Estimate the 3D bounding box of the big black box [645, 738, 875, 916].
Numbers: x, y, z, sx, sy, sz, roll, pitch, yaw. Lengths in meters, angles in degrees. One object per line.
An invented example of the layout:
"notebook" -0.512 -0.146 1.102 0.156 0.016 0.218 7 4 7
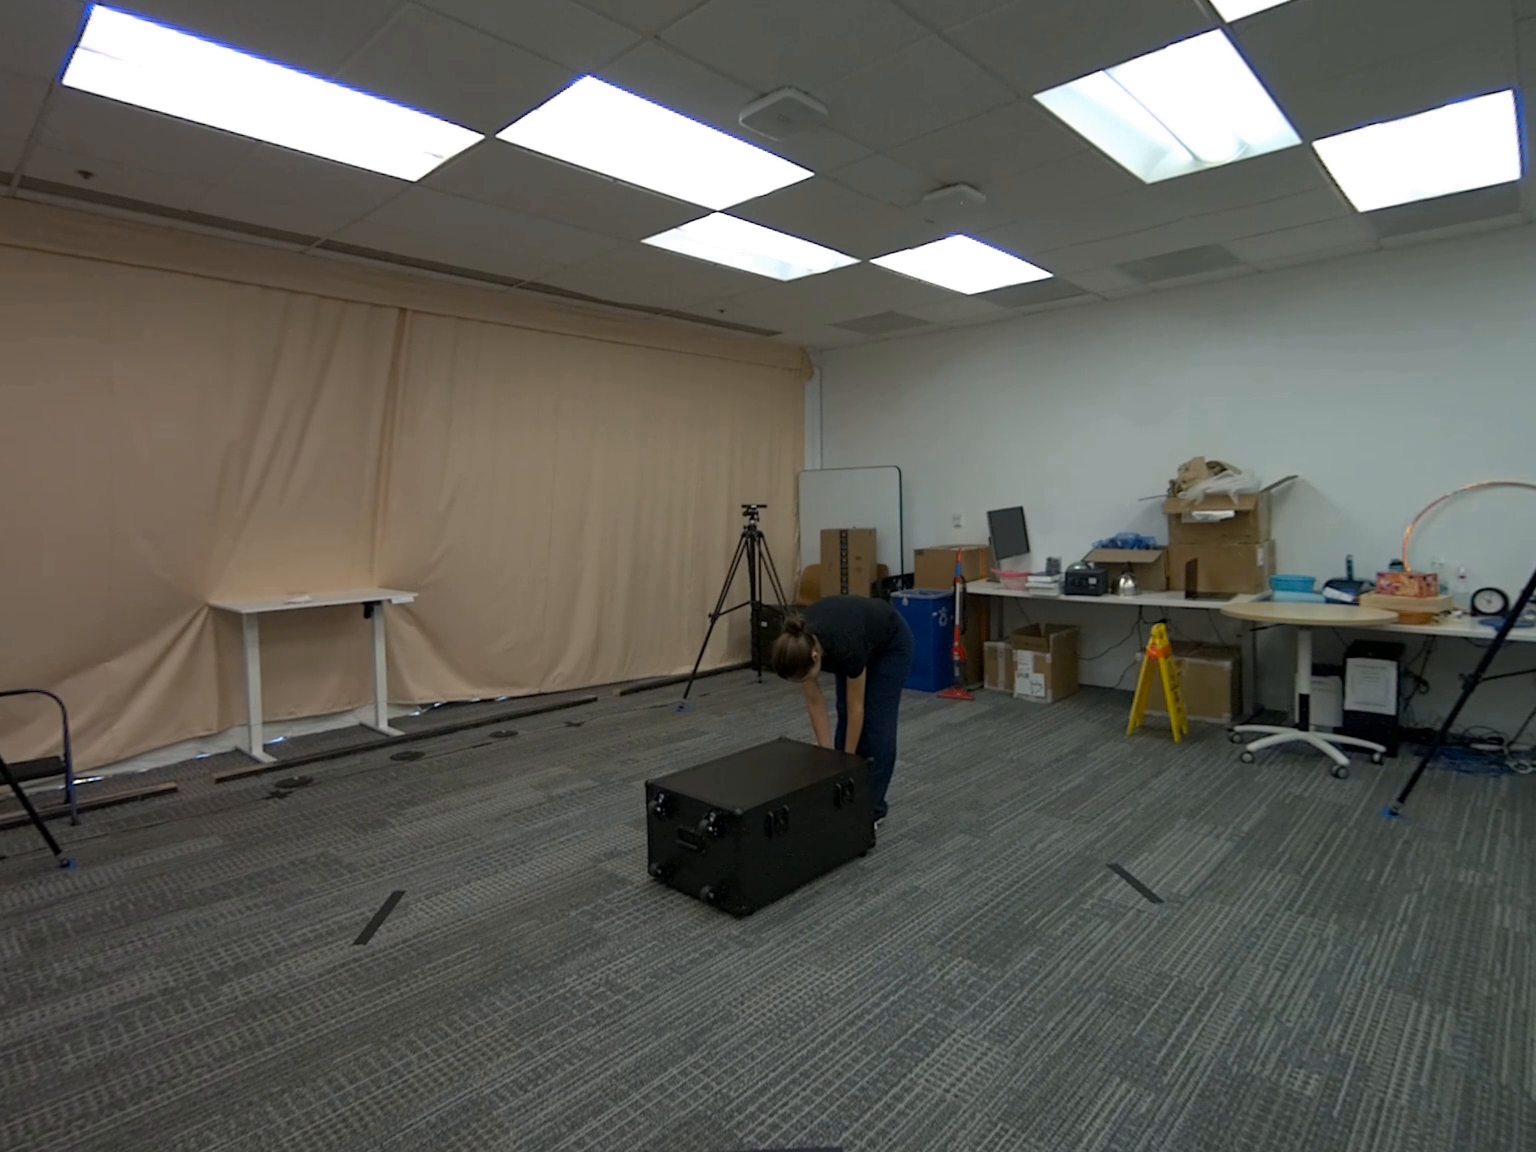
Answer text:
"big black box" -0.026 0.931 3.216 0.538 0.395 0.835 3 5 43
